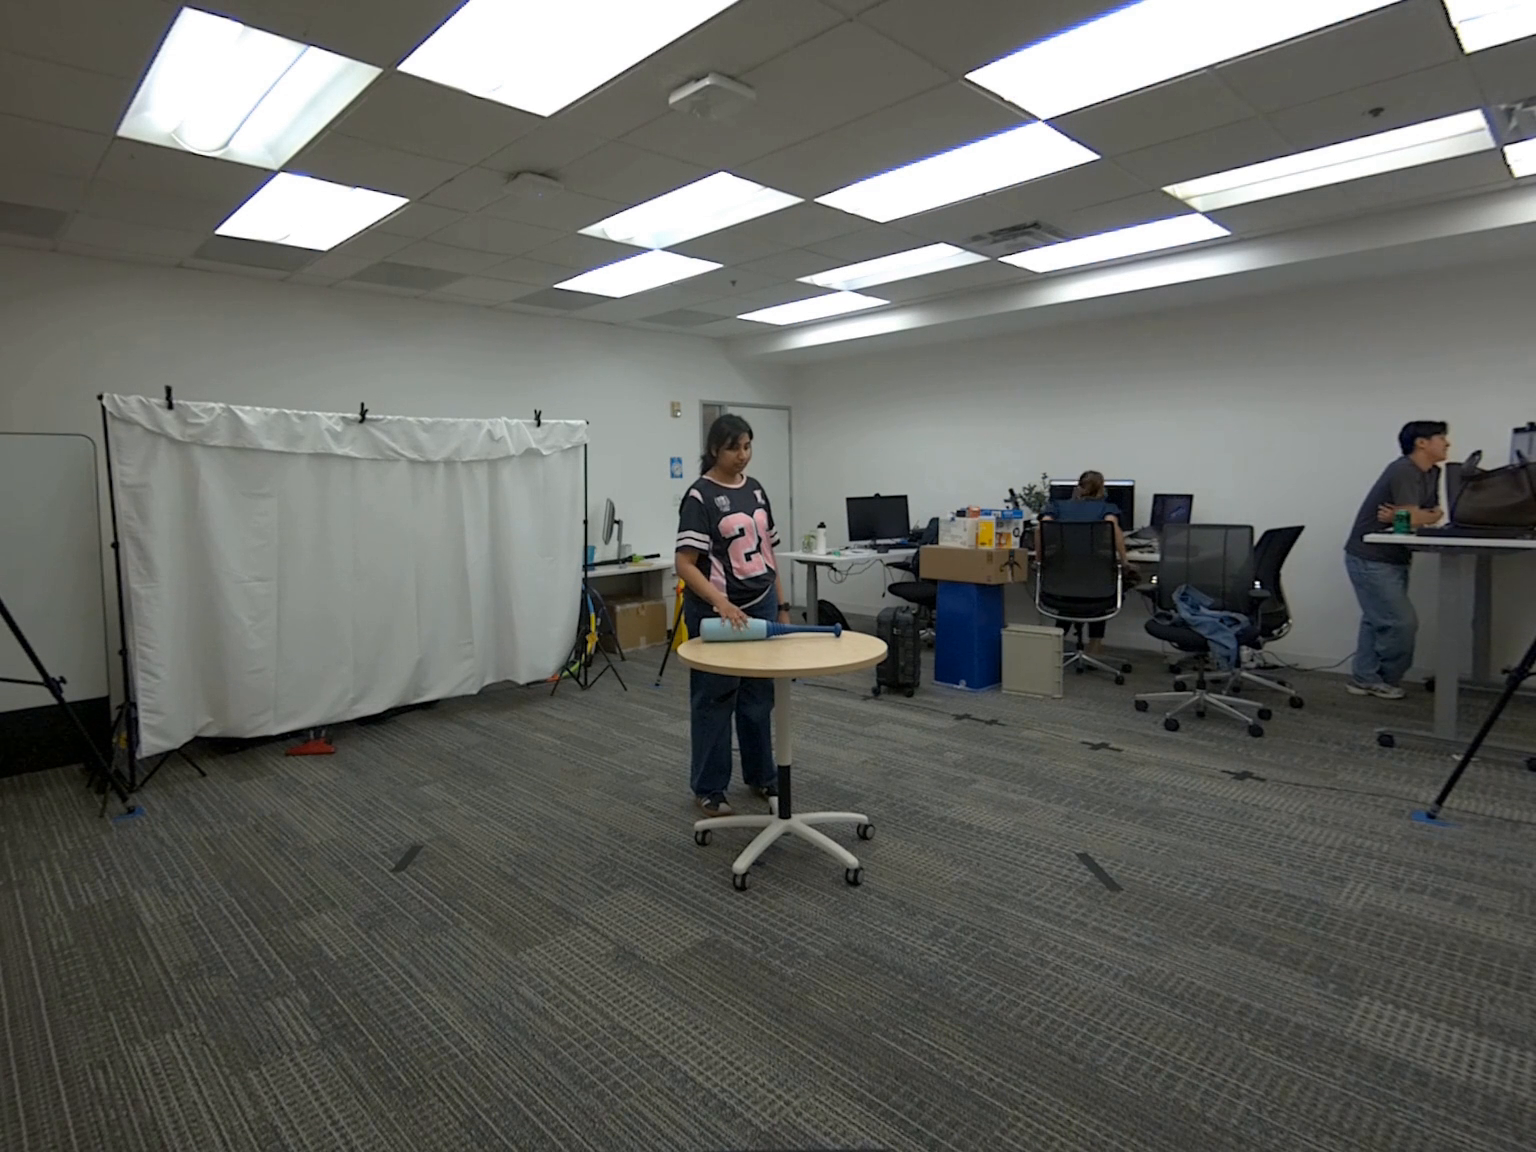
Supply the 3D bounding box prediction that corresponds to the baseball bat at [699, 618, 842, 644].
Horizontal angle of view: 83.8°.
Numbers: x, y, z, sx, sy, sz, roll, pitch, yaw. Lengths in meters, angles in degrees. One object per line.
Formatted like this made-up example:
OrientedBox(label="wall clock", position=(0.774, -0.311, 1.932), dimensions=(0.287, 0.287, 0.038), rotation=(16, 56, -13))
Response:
OrientedBox(label="baseball bat", position=(0.014, 0.208, 3.273), dimensions=(0.541, 0.089, 0.090), rotation=(0, 5, -4))
